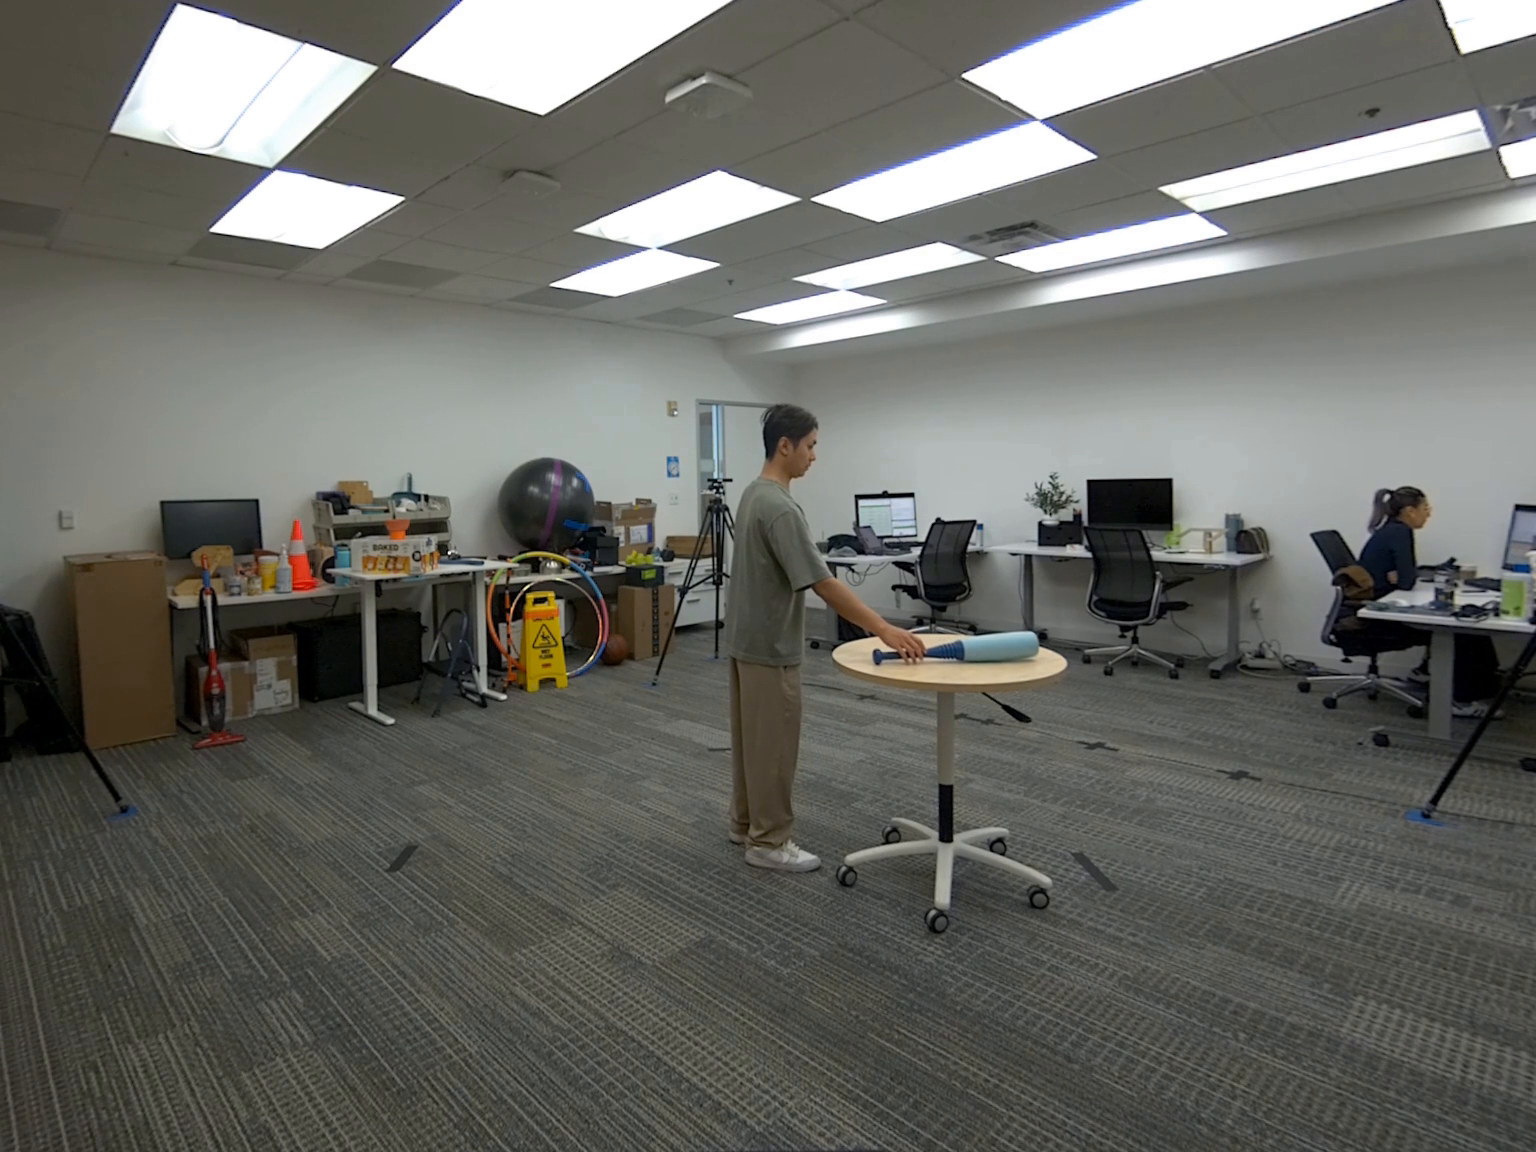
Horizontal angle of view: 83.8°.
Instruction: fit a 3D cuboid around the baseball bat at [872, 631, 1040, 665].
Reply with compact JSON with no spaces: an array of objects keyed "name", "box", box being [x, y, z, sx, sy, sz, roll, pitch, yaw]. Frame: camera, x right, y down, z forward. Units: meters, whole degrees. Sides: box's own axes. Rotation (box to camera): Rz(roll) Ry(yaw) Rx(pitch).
[{"name":"baseball bat","box":[0.617,0.245,2.812,0.541,0.089,0.090,-5,5,-3]}]
